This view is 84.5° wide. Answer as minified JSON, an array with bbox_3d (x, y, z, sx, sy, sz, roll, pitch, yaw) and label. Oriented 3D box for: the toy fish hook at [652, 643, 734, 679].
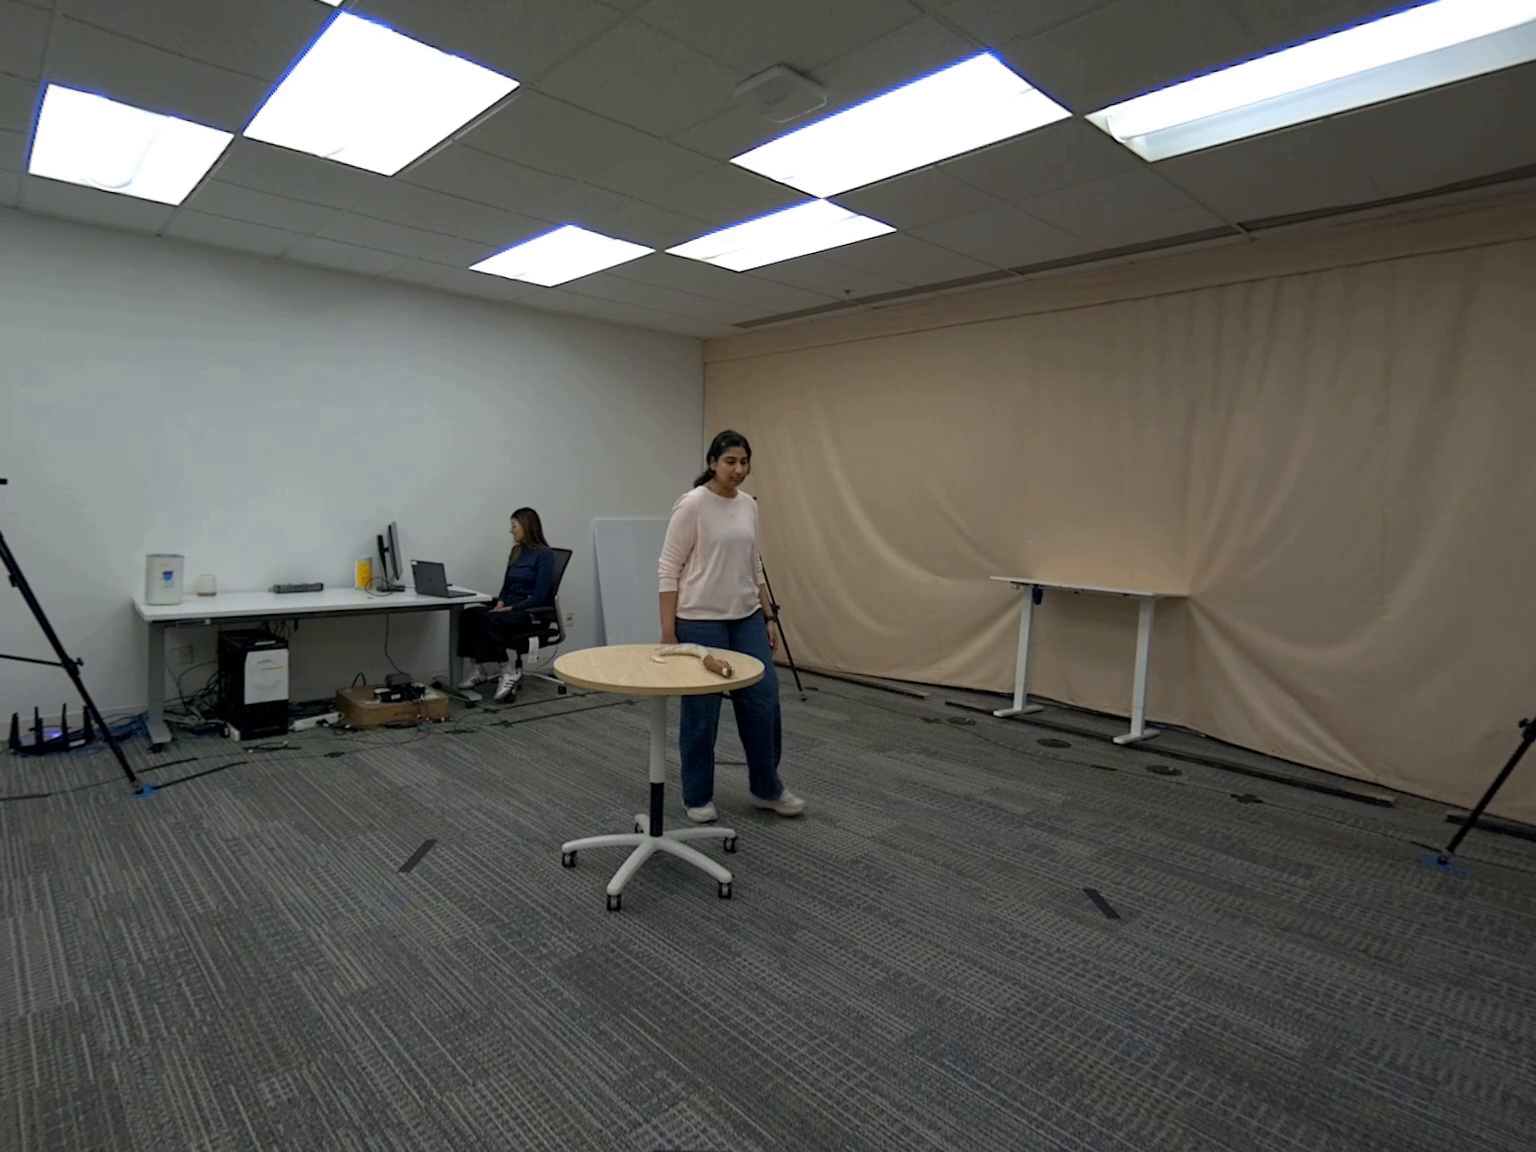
[{"bbox_3d":[-0.291,0.310,3.051,0.221,0.048,0.516,-5,7,-22],"label":"toy fish hook"}]
